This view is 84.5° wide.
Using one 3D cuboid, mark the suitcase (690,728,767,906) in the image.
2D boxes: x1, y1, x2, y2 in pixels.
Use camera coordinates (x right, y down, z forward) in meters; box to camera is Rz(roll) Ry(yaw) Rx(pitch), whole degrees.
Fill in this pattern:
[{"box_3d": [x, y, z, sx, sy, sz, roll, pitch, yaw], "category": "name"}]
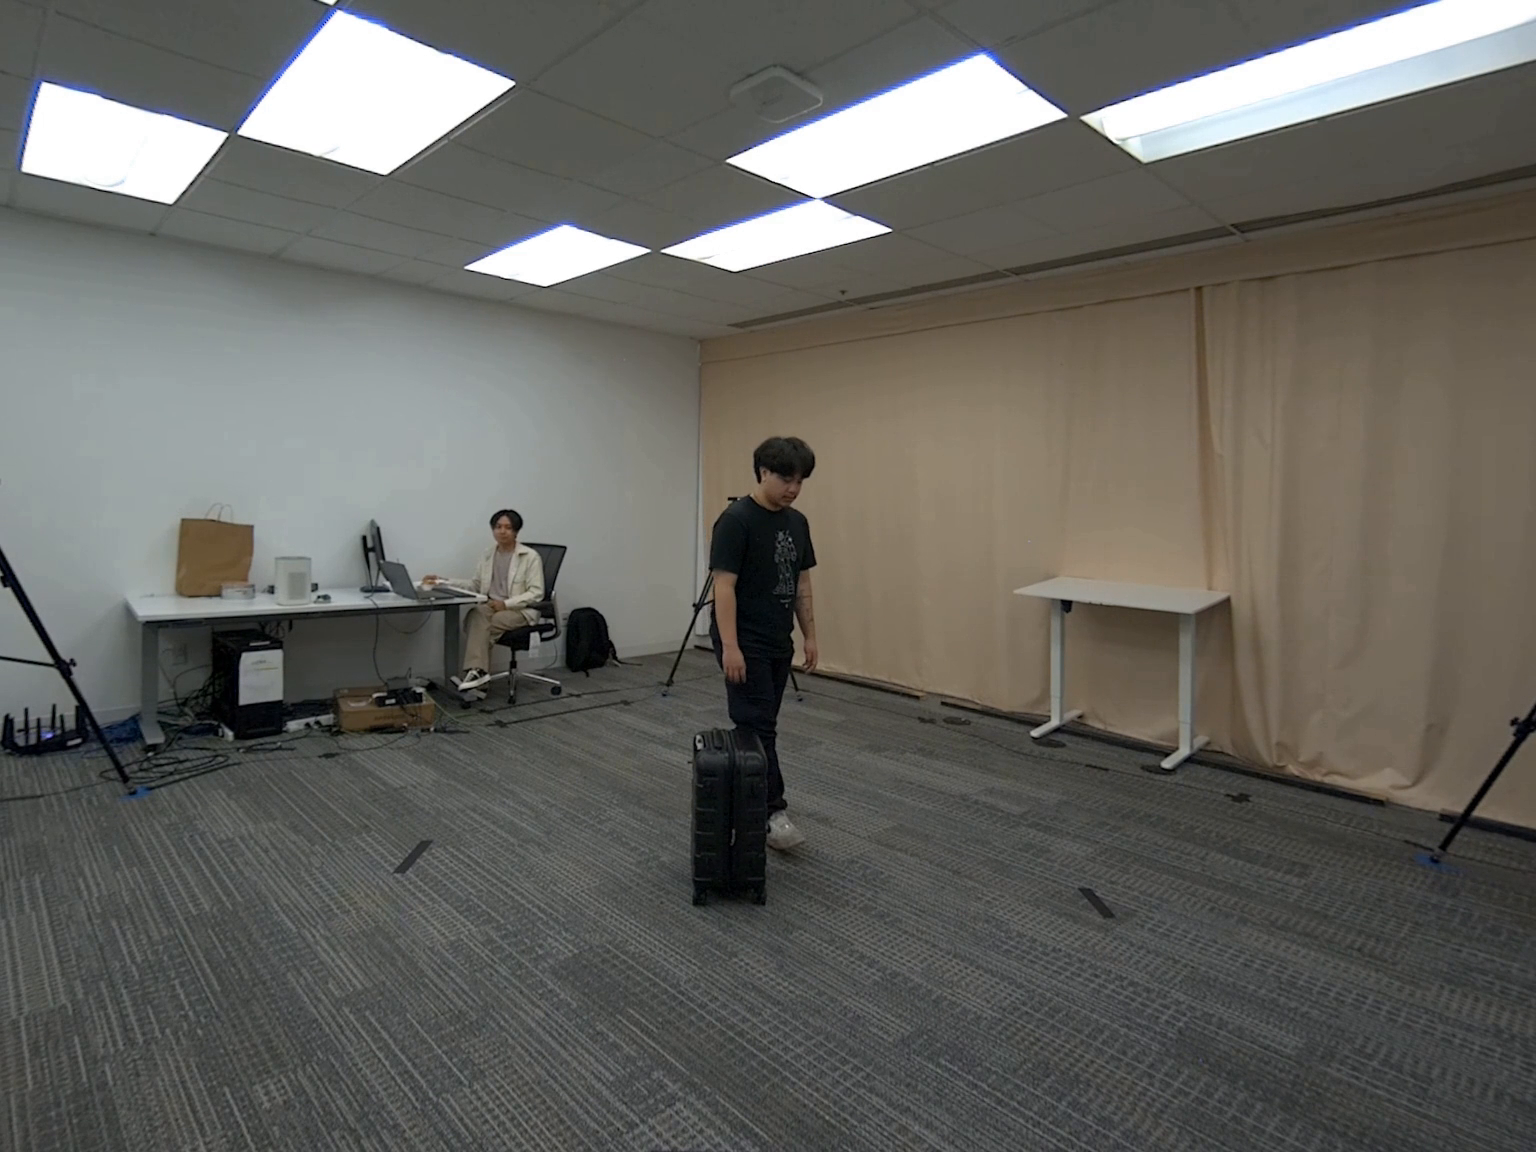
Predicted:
[{"box_3d": [-0.156, 0.840, 3.001, 0.247, 0.548, 0.378, 1, 4, -6], "category": "suitcase"}]
